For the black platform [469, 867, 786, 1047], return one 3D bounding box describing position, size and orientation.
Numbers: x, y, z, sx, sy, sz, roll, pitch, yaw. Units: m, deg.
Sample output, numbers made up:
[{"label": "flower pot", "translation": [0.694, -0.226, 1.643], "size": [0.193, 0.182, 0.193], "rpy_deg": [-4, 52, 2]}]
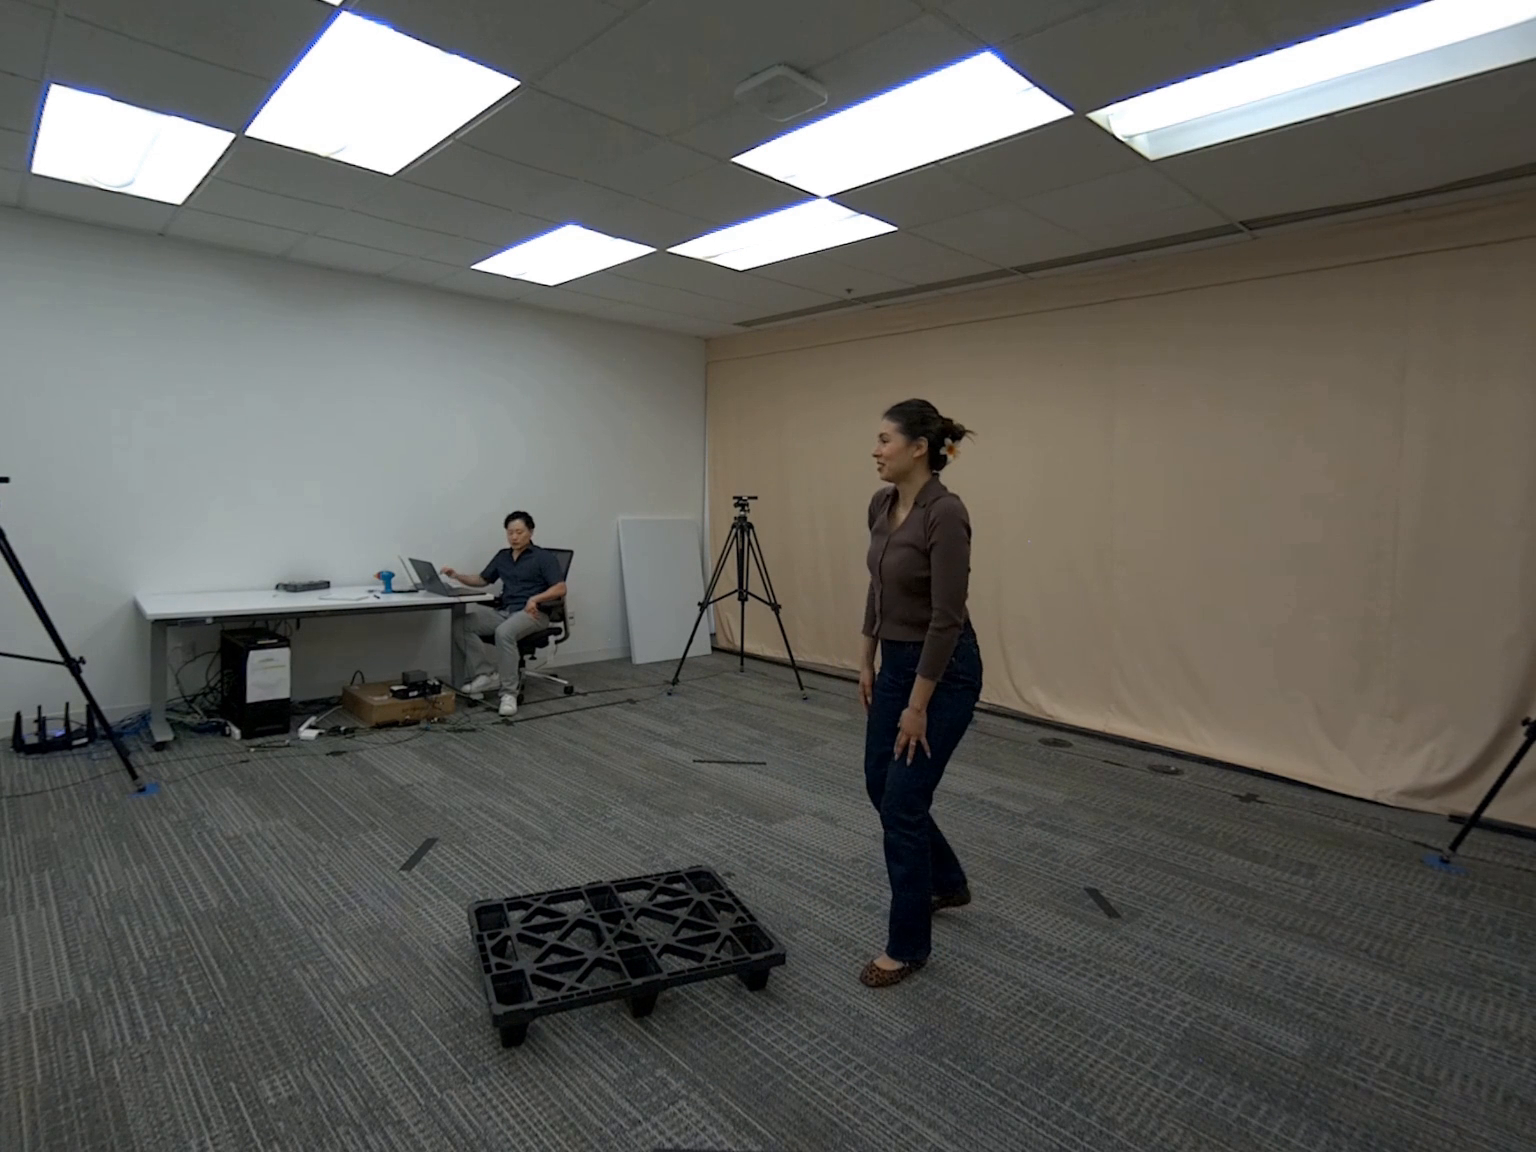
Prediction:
[{"label": "black platform", "translation": [-0.435, 1.092, 2.449], "size": [0.791, 0.143, 0.618], "rpy_deg": [-1, 7, -25]}]
